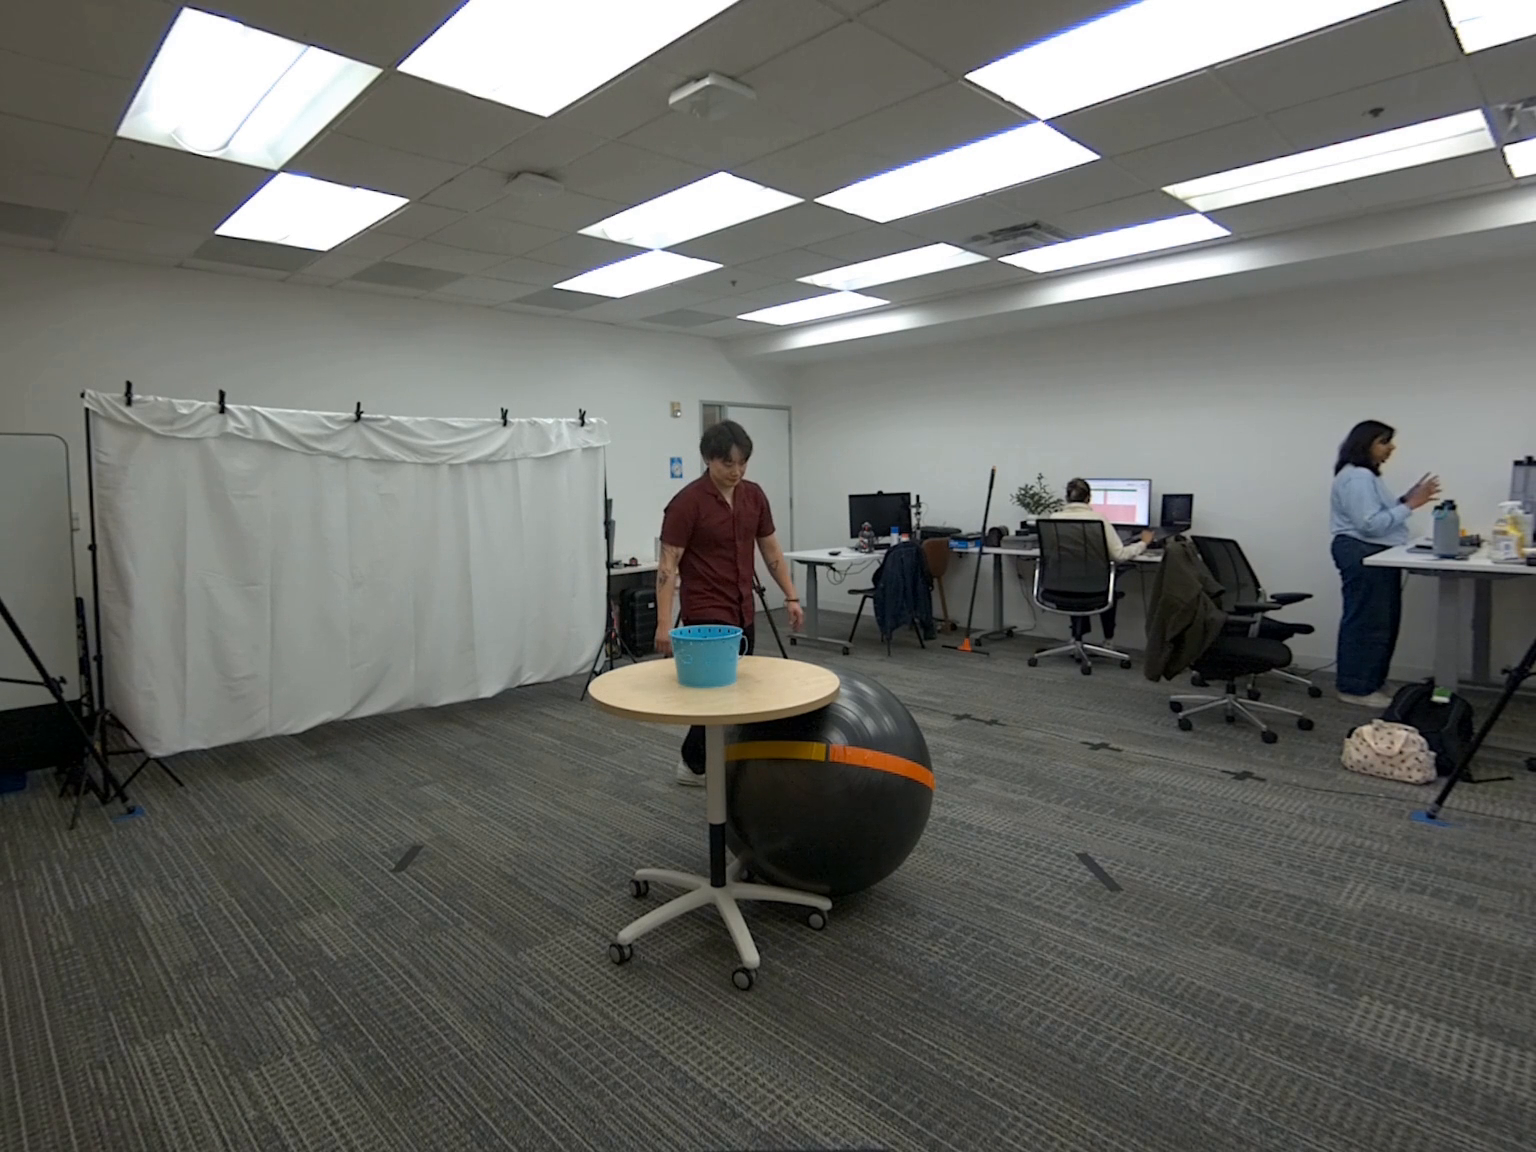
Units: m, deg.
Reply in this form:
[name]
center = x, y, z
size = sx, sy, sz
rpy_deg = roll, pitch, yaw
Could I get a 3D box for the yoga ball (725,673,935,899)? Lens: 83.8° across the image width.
[yoga ball]
center = 0.175, 0.687, 2.890
size = 0.757, 0.755, 0.762
rpy_deg = -1, 5, -2
